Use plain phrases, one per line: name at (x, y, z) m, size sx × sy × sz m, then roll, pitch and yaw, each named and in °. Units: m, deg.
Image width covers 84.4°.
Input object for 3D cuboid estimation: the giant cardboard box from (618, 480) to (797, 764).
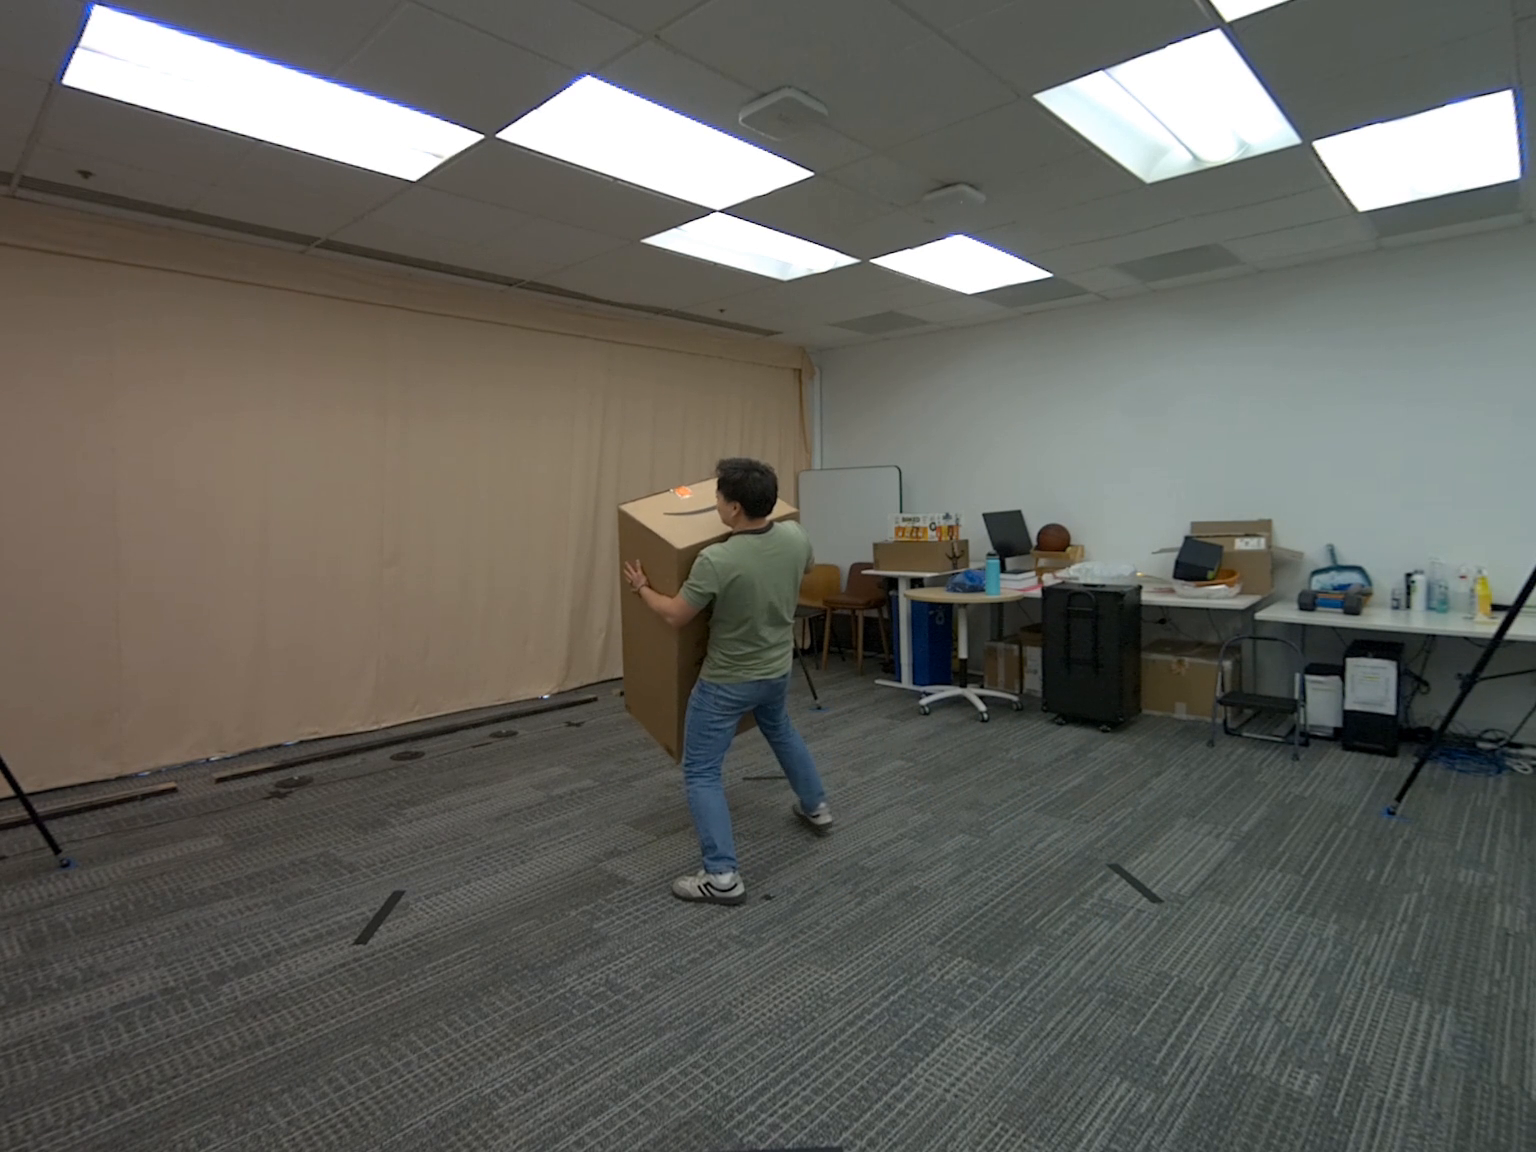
giant cardboard box at (-0.258, 0.177, 3.521) m, size 0.564 × 1.011 × 0.442 m, roll -18°, pitch 36°, yaw -33°
